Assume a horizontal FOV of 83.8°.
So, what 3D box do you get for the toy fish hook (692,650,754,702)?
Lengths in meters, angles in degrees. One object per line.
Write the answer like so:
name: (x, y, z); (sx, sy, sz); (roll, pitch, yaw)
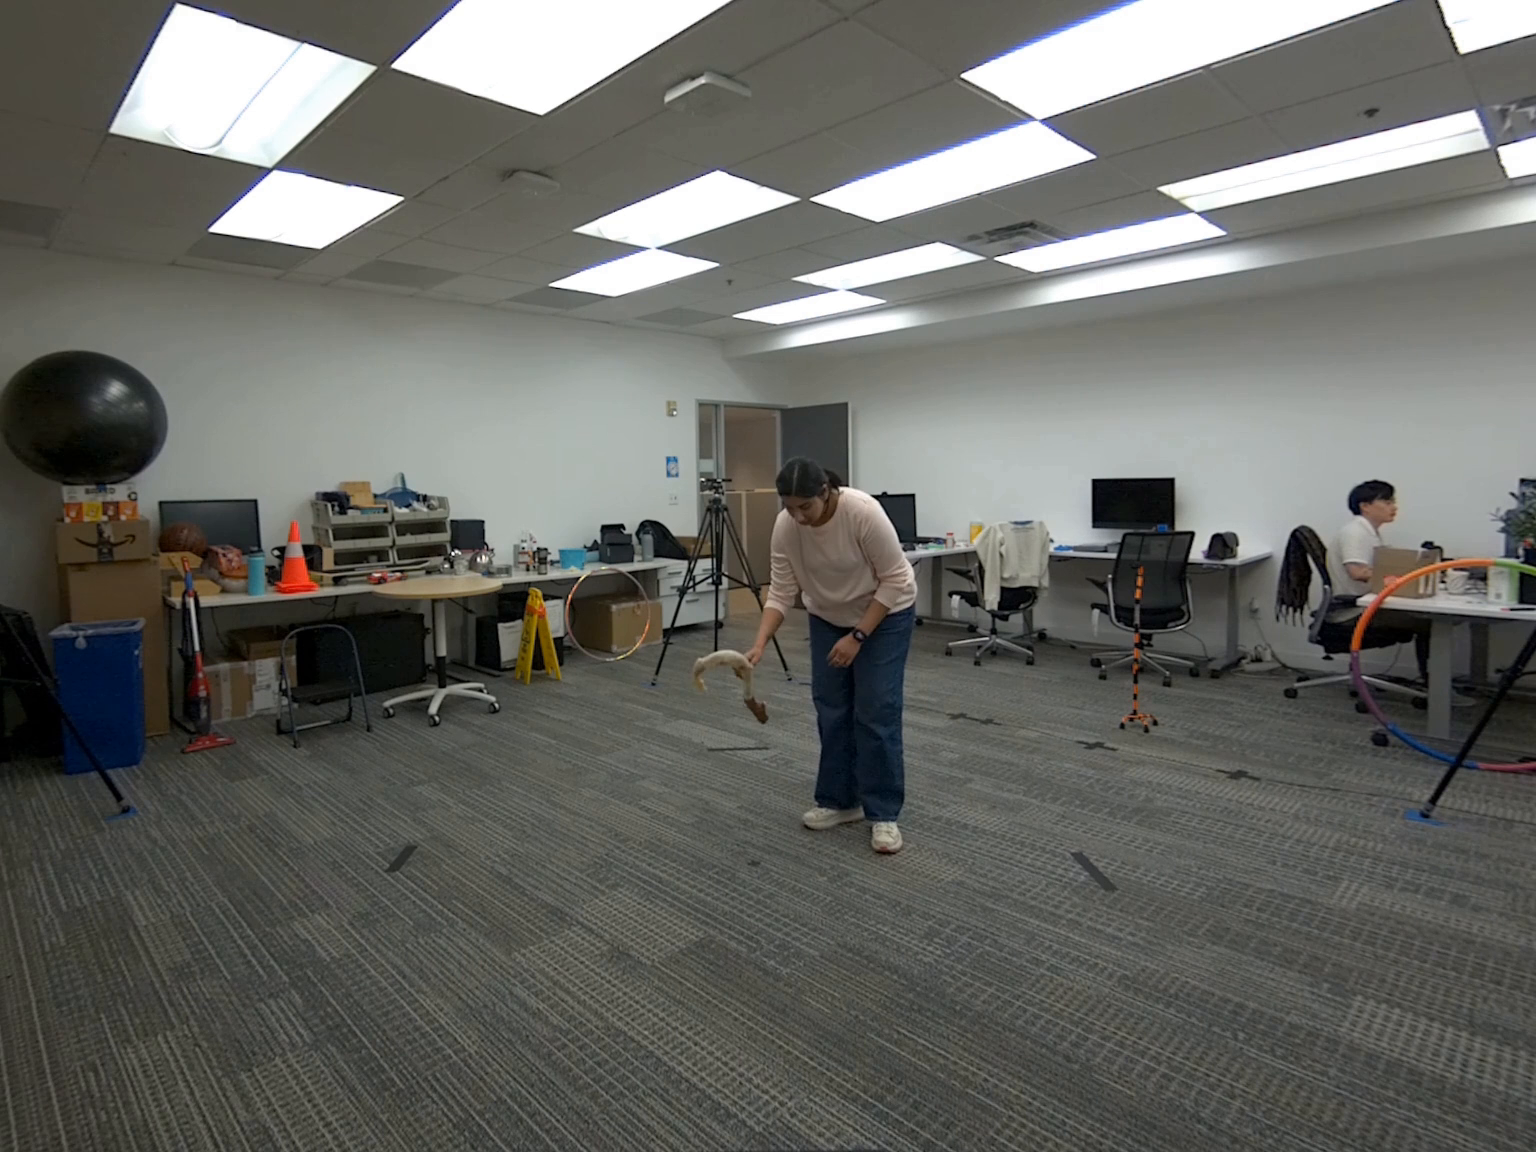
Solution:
toy fish hook: (-0.136, 0.443, 3.199); (0.226, 0.488, 0.050); (-16, 46, 8)
